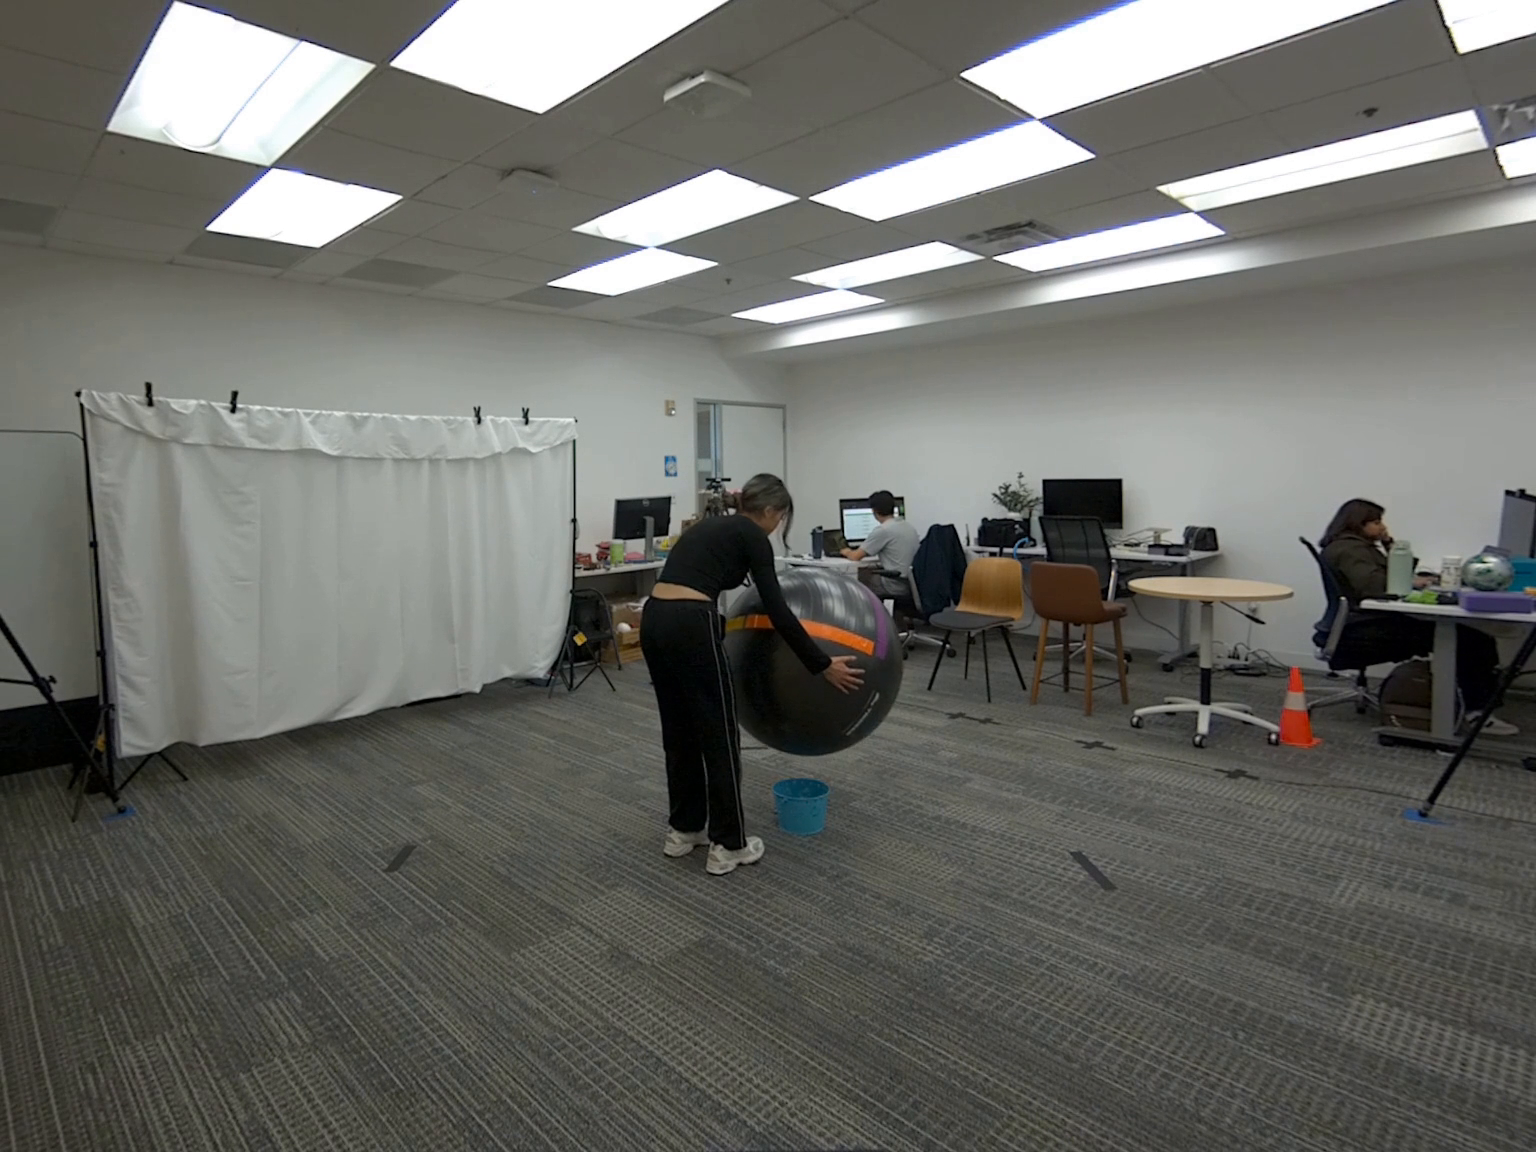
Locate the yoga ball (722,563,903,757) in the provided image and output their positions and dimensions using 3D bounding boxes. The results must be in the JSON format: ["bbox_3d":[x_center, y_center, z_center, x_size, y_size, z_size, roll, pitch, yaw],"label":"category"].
[{"bbox_3d":[0.163,0.342,3.476,0.757,0.755,0.762,-1,5,-2],"label":"yoga ball"}]
